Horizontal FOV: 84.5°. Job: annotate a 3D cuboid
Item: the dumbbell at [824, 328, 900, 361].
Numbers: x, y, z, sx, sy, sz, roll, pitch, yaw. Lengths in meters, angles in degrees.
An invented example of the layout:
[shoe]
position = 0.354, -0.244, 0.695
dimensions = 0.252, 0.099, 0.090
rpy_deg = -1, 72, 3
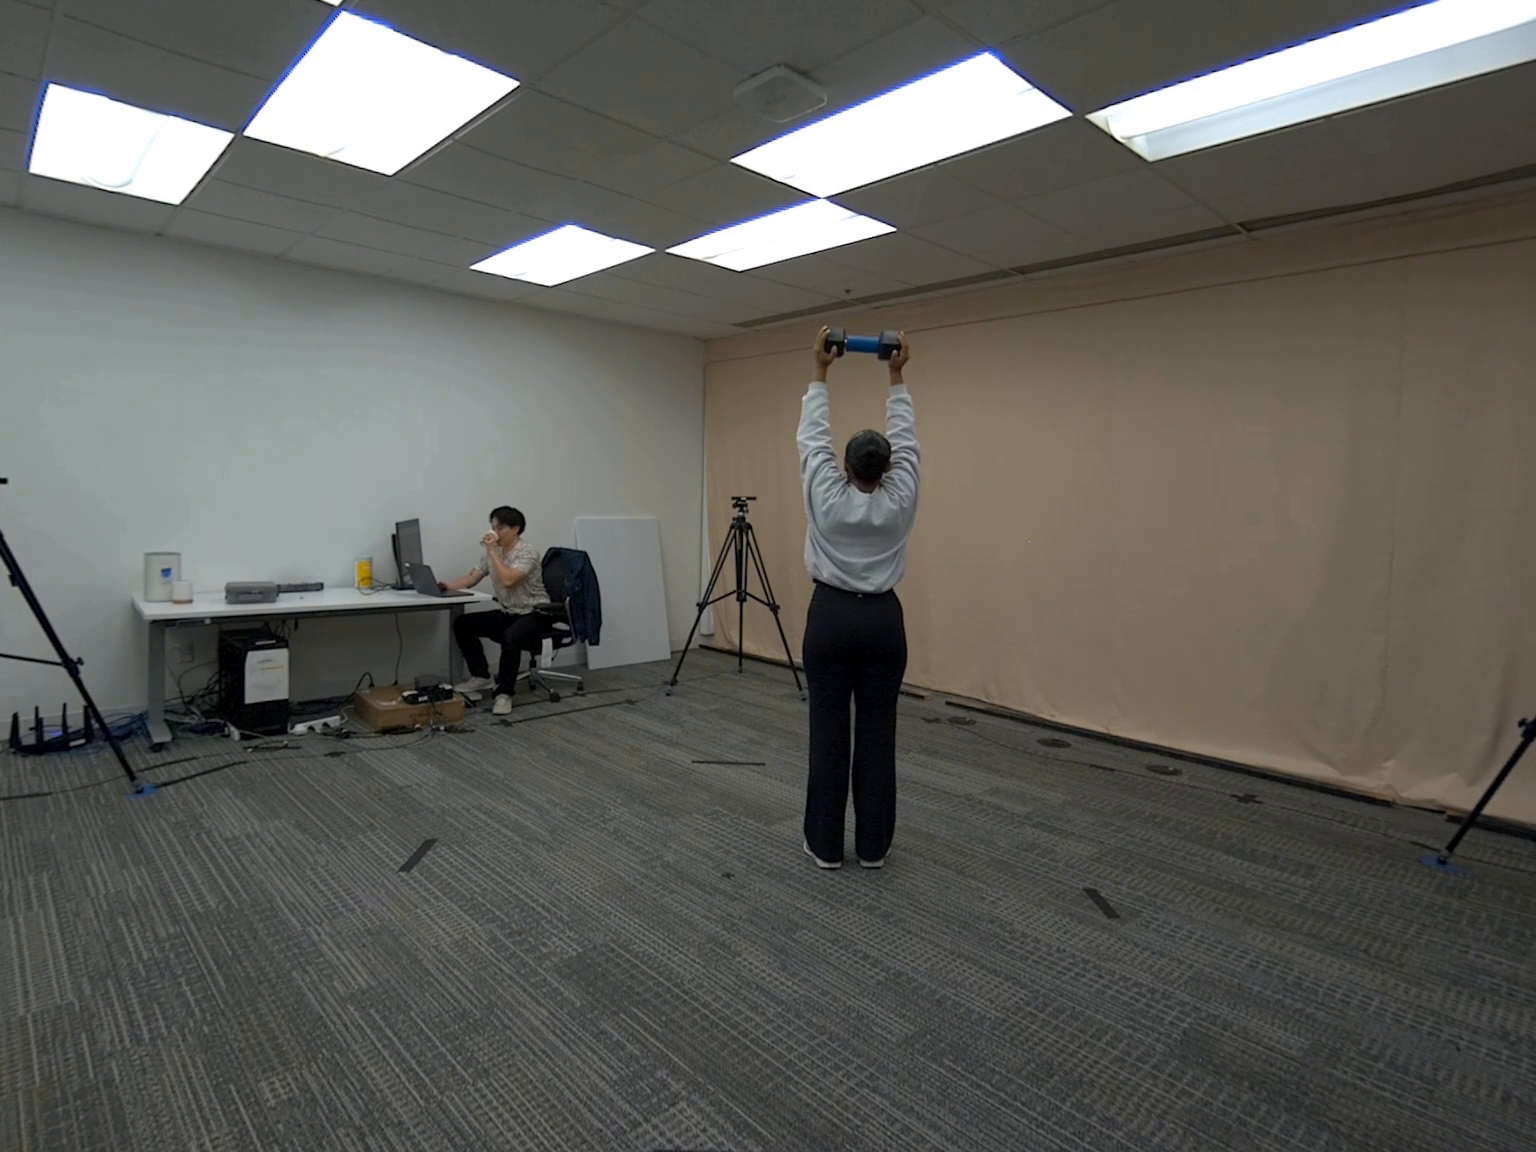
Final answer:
[dumbbell]
position = 0.354, -0.881, 3.243
dimensions = 0.295, 0.125, 0.106
rpy_deg = 4, -29, 4
